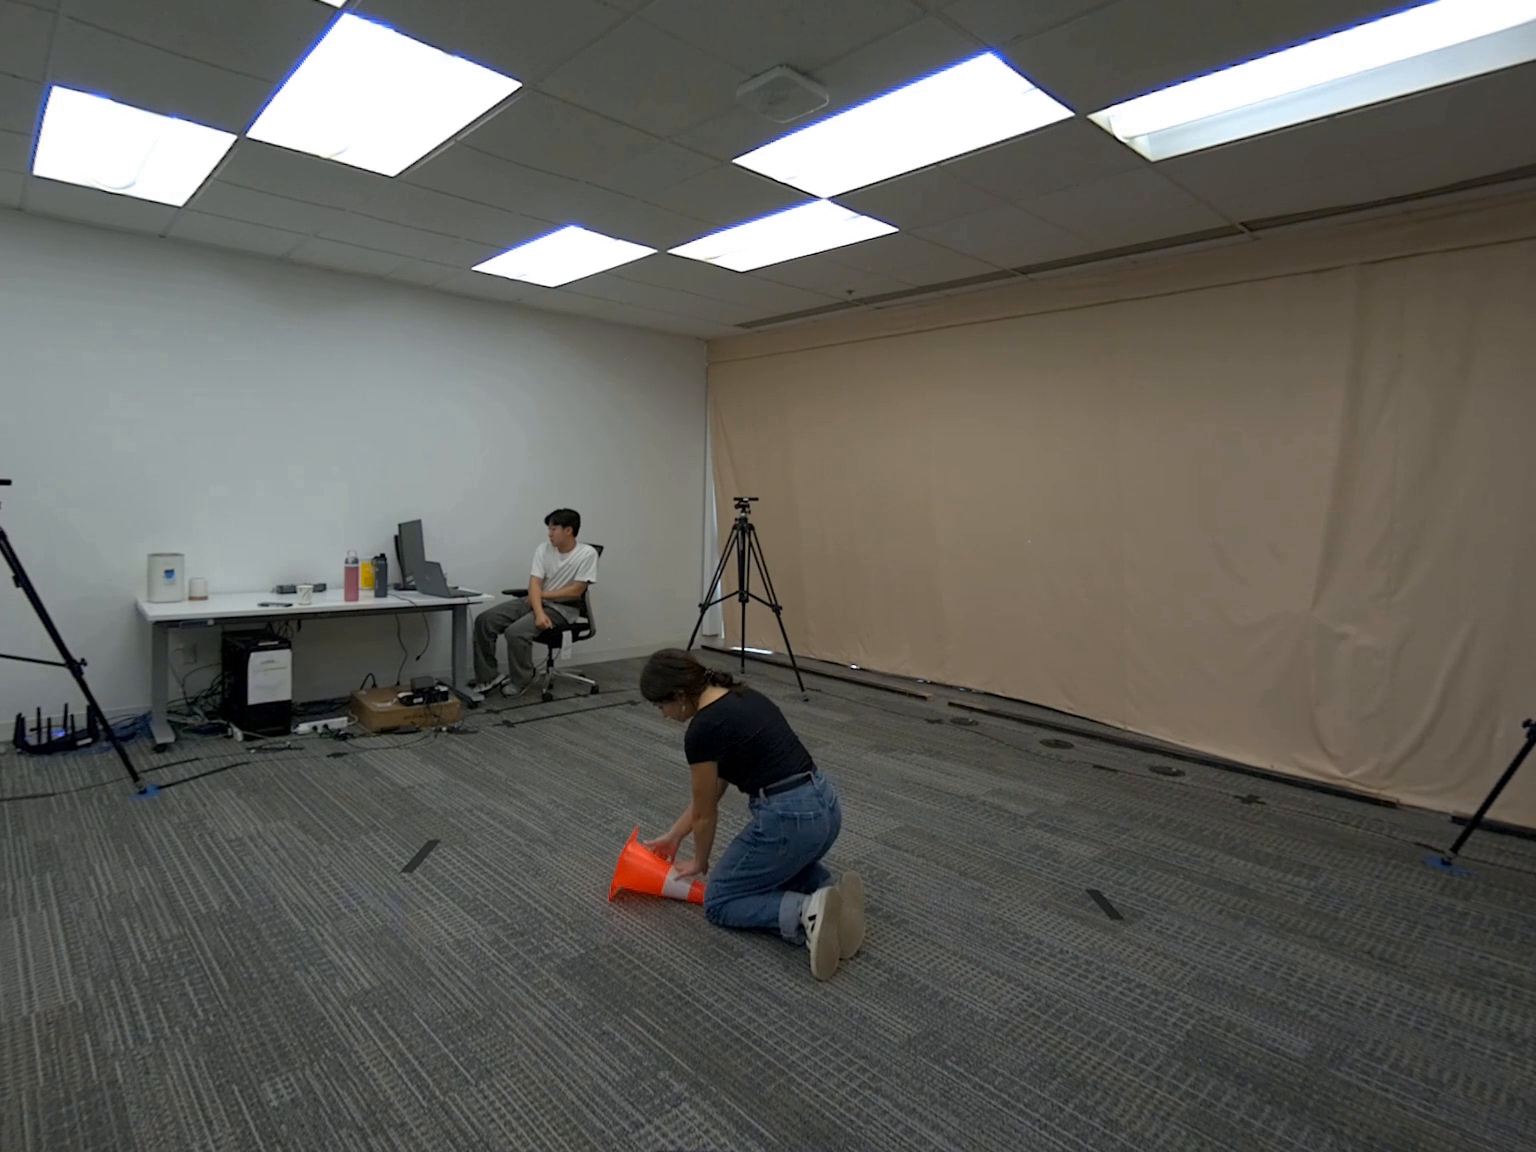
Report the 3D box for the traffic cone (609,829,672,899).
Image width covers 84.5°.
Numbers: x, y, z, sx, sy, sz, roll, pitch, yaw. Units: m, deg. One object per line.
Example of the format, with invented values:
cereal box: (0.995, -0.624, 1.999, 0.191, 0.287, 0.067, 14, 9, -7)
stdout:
traffic cone: (-0.331, 1.061, 2.904, 0.389, 0.201, 0.204, 16, 18, 15)
